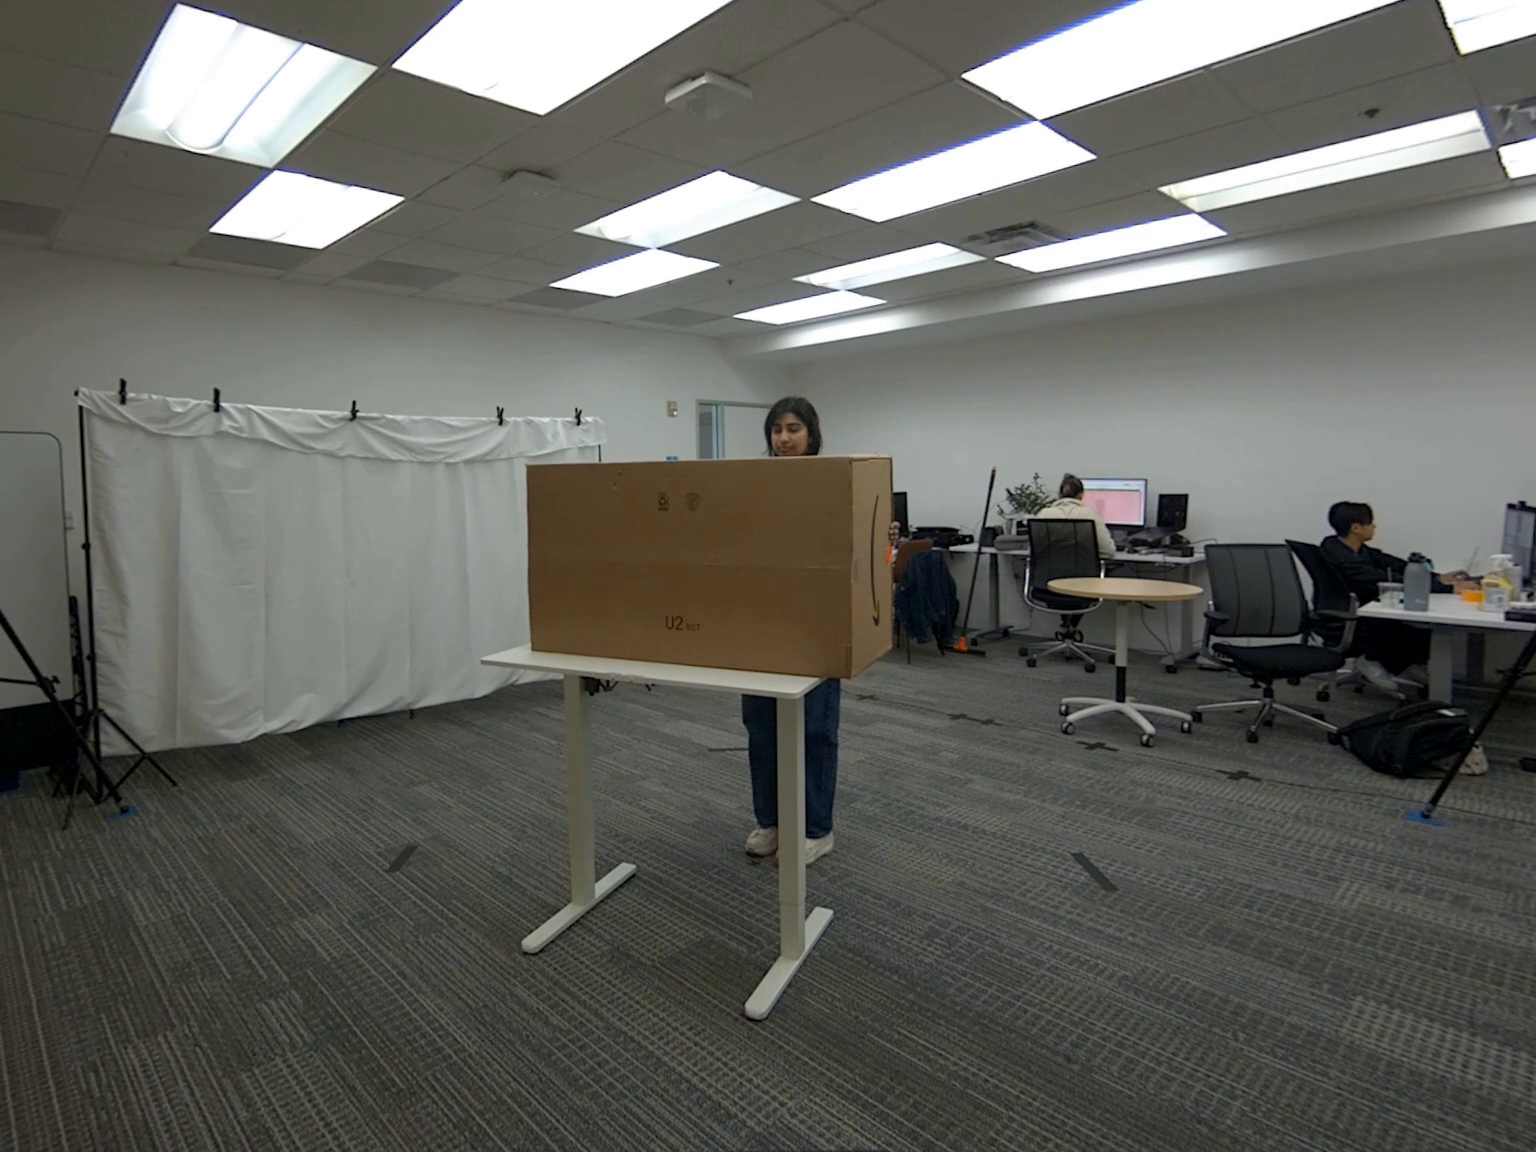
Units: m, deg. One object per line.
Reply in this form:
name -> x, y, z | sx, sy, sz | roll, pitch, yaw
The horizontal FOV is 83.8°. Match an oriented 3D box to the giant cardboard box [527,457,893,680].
giant cardboard box -> -0.194, -0.056, 2.570 | 1.051, 0.575, 0.418 | 2, 6, 26
